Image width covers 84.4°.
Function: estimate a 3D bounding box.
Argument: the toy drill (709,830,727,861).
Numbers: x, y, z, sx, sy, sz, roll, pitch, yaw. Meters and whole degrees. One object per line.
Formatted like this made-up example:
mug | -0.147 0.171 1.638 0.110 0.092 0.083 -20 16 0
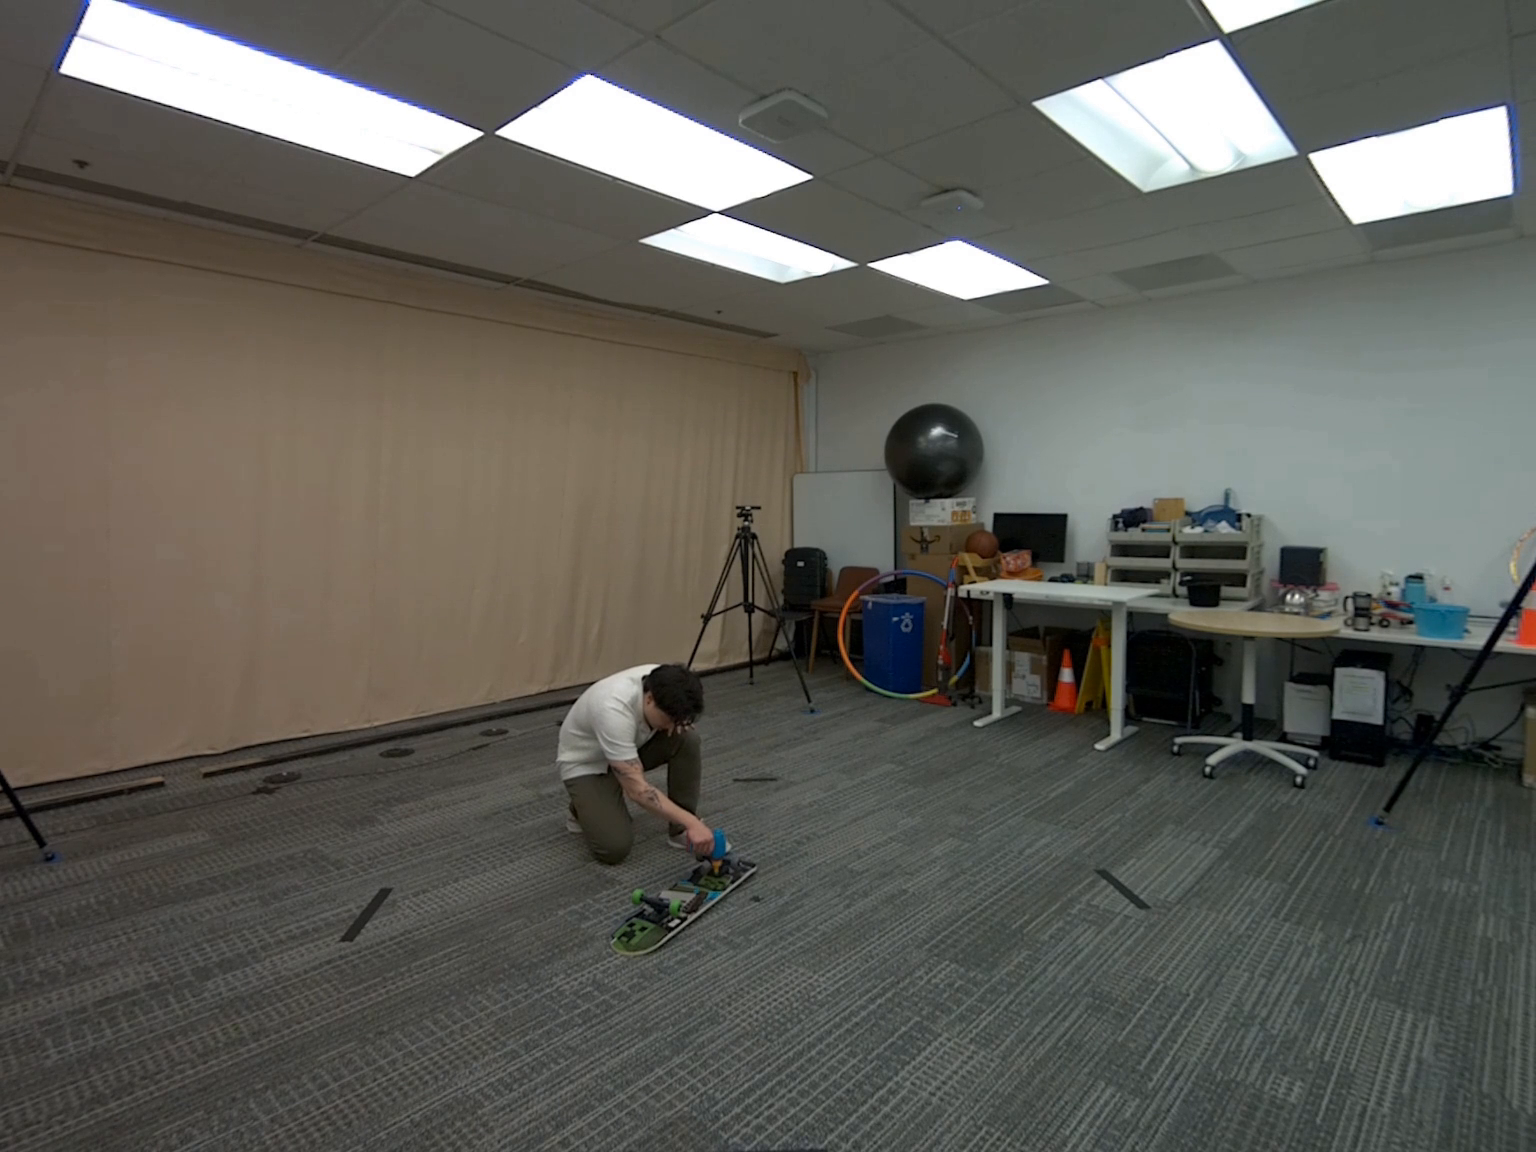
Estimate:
toy drill | -0.227 1.006 3.065 0.145 0.169 0.061 5 7 -3
